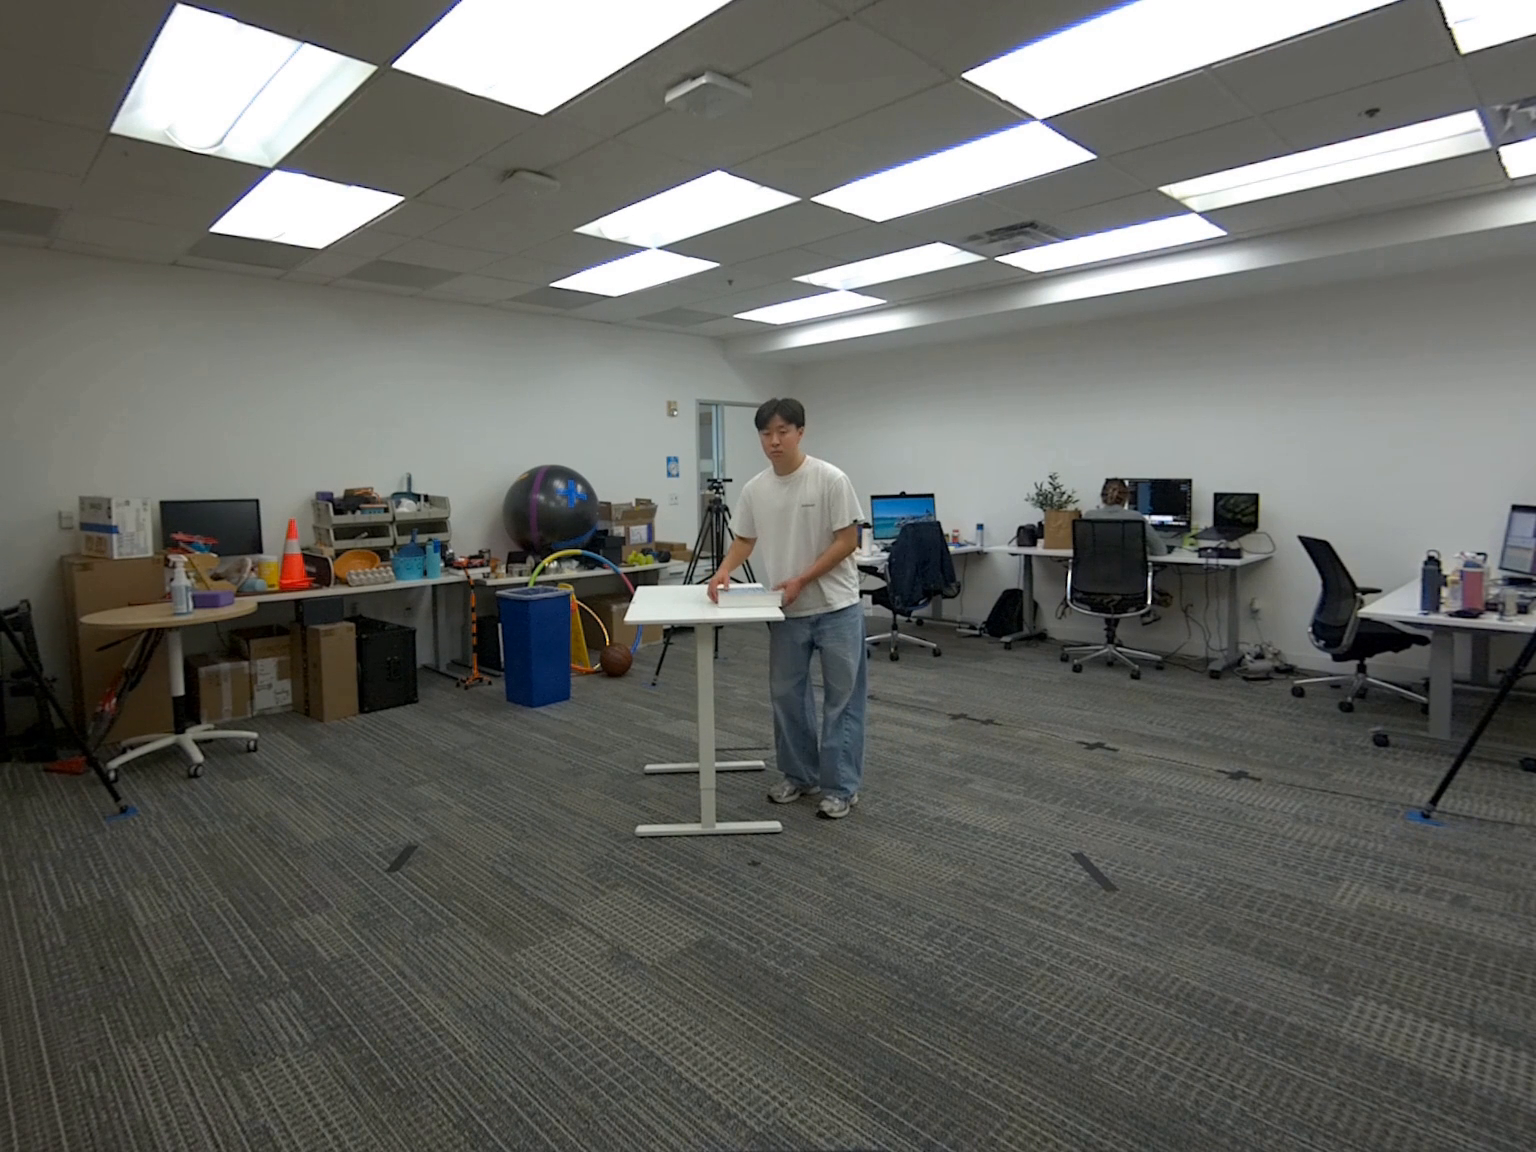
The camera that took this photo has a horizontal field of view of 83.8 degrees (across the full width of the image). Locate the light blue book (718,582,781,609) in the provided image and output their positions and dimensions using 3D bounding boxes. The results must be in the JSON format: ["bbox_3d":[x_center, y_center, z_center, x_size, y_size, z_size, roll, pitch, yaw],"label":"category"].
[{"bbox_3d":[-0.073,0.091,3.524,0.261,0.059,0.192,-1,3,-1],"label":"light blue book"}]
